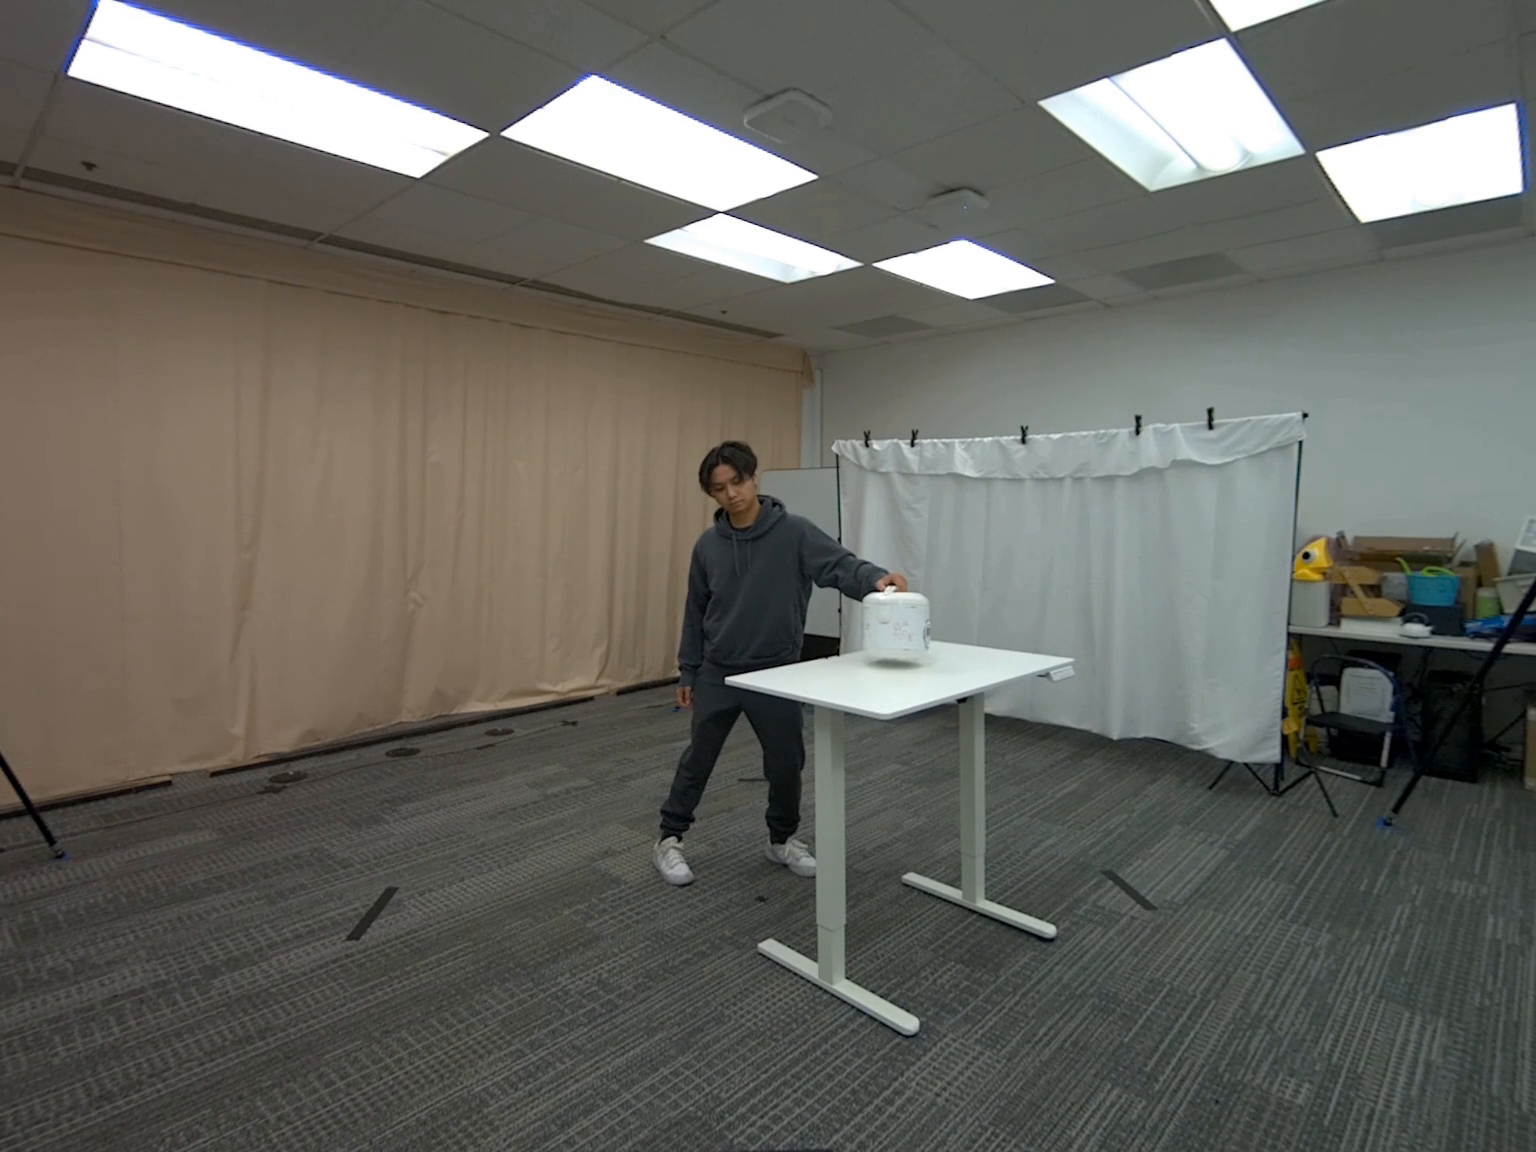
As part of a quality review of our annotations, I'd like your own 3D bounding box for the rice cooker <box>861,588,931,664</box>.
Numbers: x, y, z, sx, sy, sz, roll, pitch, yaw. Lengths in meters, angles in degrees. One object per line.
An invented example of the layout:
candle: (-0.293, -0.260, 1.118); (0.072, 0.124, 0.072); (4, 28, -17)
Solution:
rice cooker: (0.413, 0.152, 2.683); (0.223, 0.233, 0.214); (-2, -6, 30)
